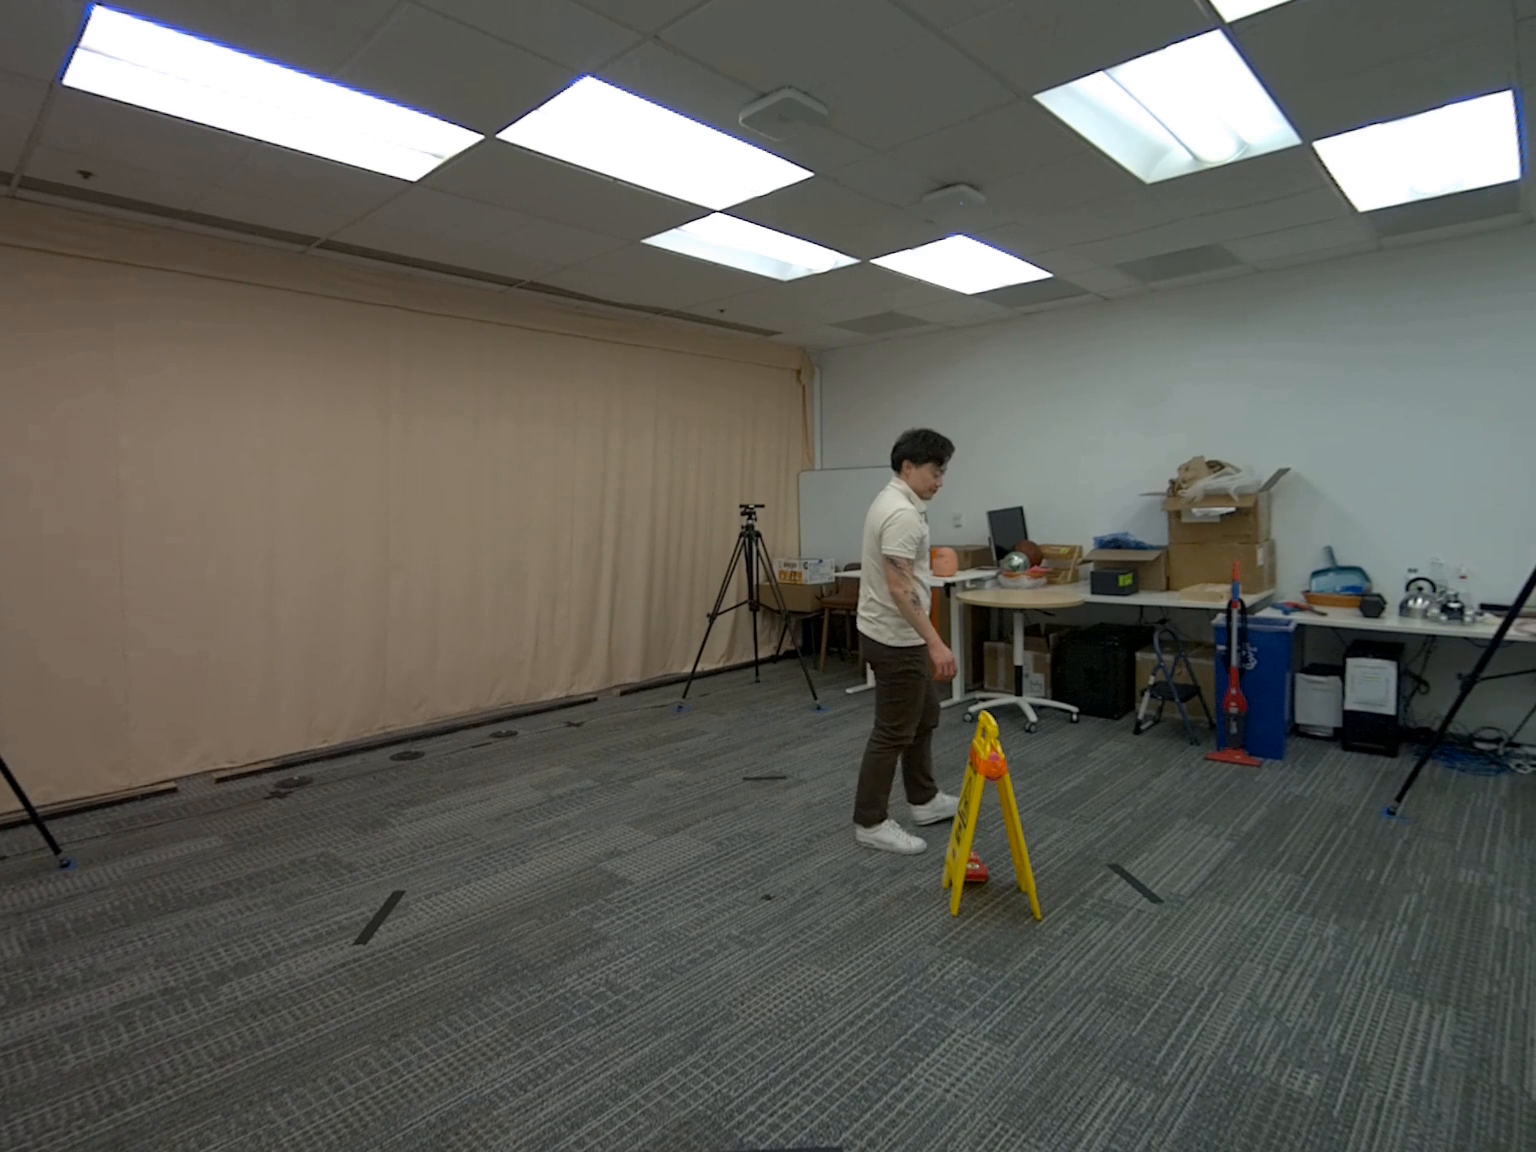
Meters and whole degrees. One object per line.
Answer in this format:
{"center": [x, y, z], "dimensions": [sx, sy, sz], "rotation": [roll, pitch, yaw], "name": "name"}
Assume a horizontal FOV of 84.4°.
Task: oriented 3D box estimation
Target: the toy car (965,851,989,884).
{"center": [0.750, 1.078, 3.137], "dimensions": [0.131, 0.083, 0.252], "rotation": [0, -6, 2], "name": "toy car"}
